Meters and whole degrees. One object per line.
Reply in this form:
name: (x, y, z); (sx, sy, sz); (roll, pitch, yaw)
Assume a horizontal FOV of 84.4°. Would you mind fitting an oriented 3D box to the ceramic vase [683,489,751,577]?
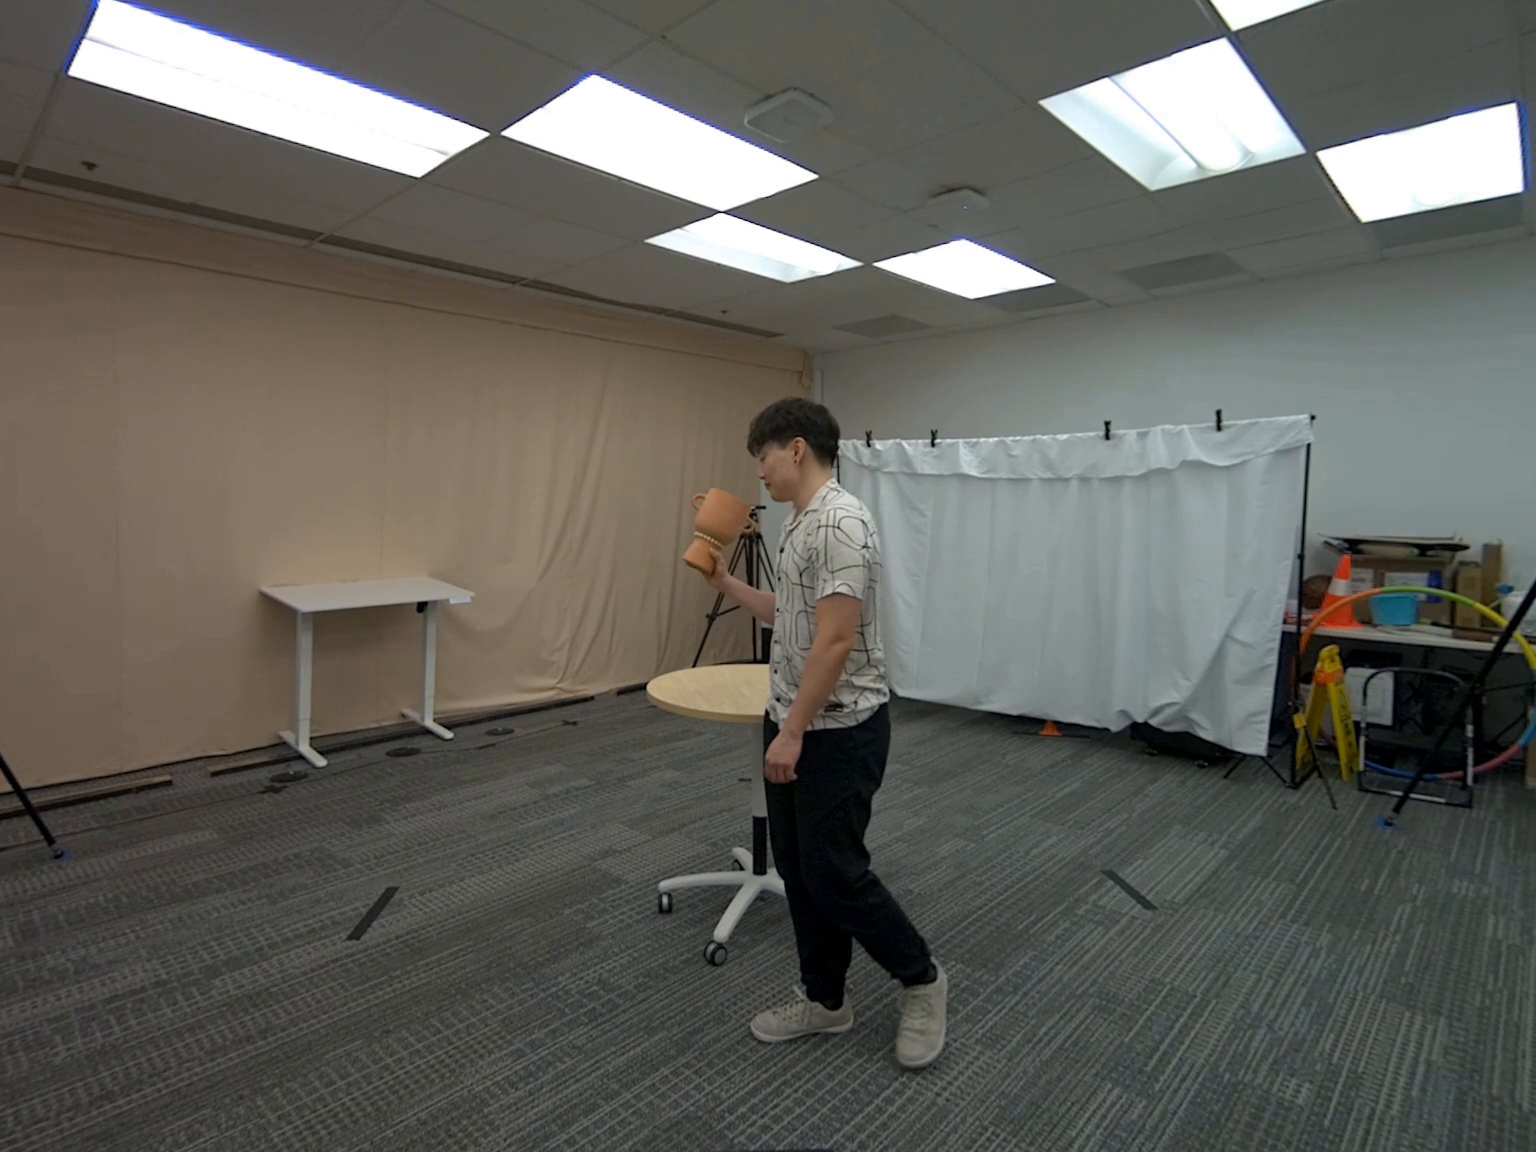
ceramic vase: (-0.145, -0.125, 2.418); (0.165, 0.220, 0.130); (22, -7, 41)
